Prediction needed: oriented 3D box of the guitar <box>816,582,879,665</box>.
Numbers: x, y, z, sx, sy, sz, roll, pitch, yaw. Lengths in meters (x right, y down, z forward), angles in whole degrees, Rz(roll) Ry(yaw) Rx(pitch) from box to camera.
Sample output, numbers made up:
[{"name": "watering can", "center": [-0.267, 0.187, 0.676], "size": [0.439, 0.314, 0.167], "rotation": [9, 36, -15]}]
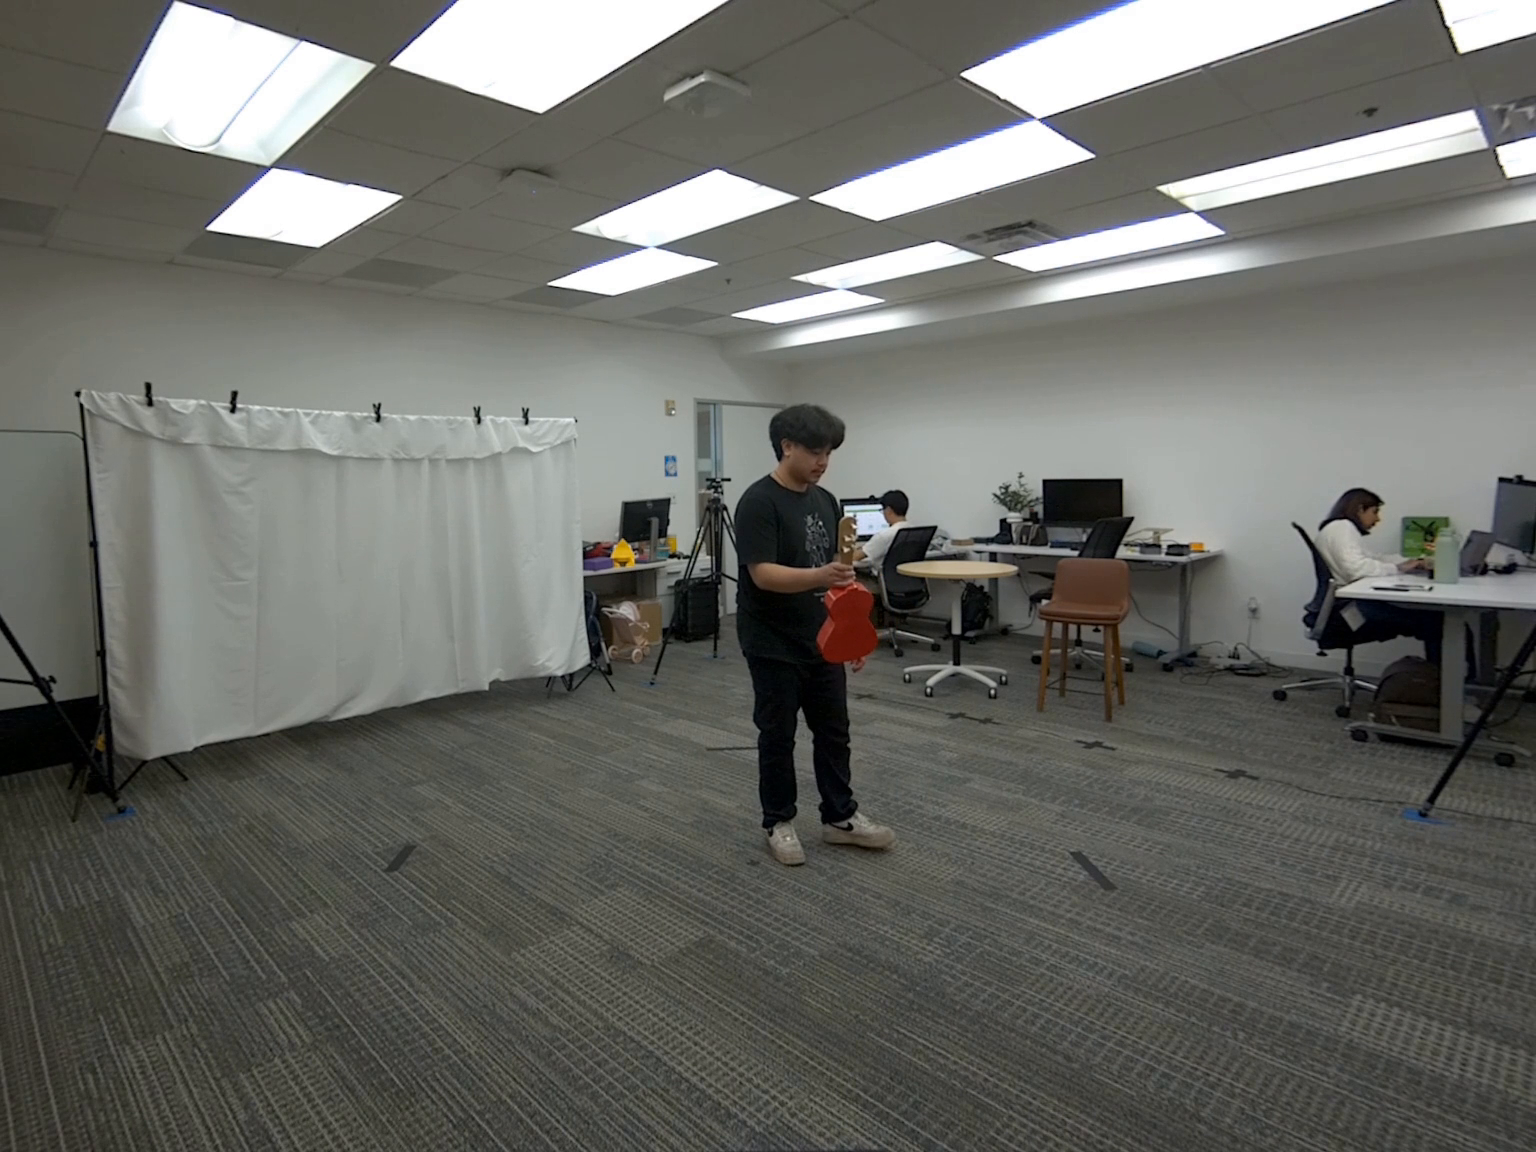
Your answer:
[{"name": "guitar", "center": [0.220, 0.059, 2.719], "size": [0.191, 0.484, 0.073], "rotation": [-17, 29, -12]}]
